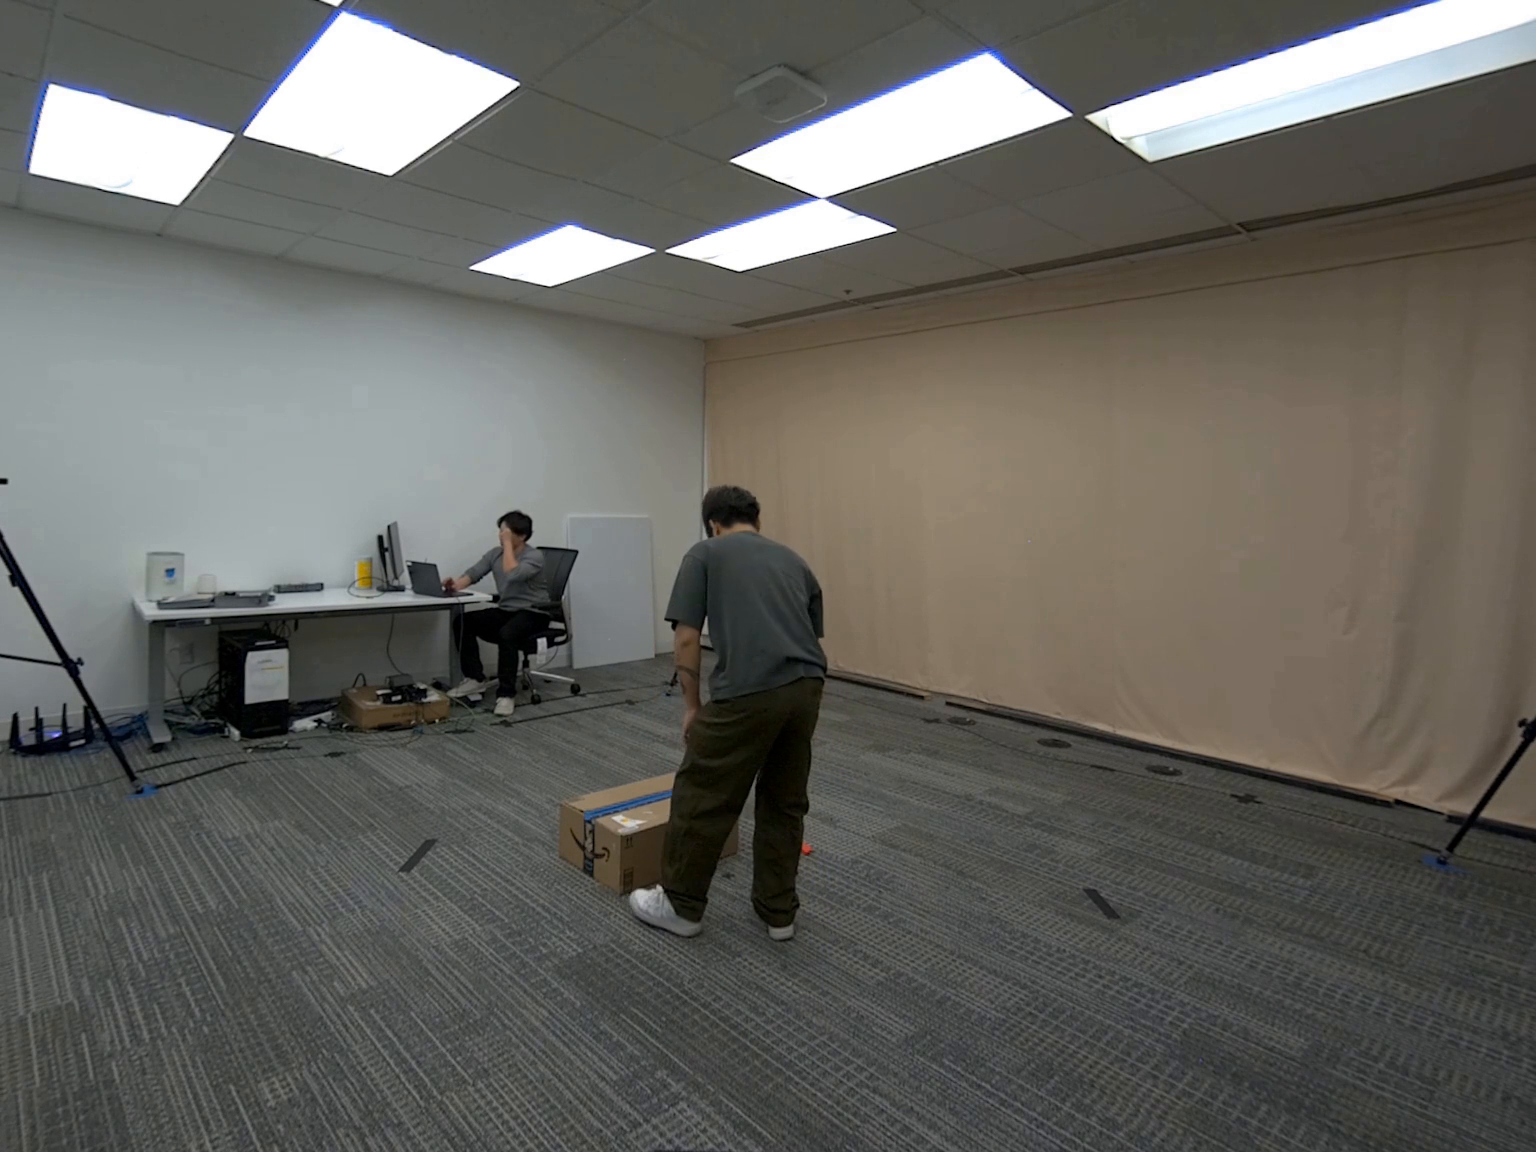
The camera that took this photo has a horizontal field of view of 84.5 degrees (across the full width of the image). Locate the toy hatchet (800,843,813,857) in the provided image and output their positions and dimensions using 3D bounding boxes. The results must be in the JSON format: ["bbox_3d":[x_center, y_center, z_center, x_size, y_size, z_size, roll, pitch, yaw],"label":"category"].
[{"bbox_3d":[0.119,1.099,3.245,0.130,0.029,0.272,4,6,-7],"label":"toy hatchet"}]
